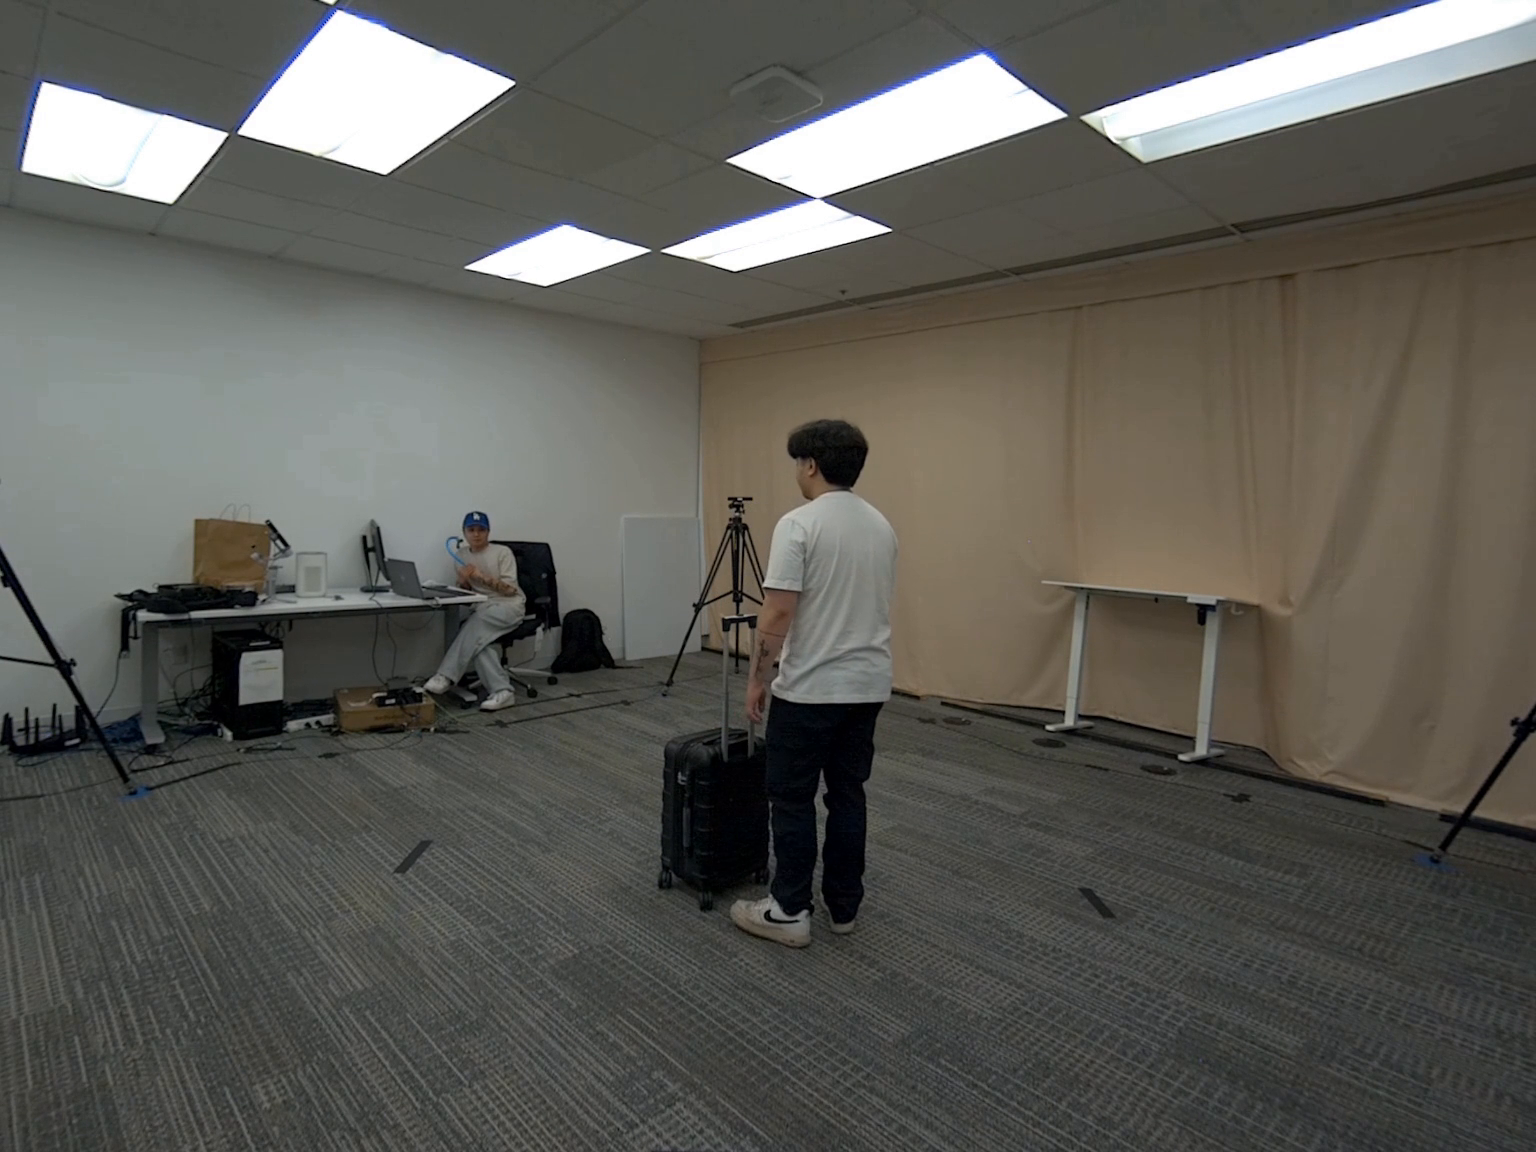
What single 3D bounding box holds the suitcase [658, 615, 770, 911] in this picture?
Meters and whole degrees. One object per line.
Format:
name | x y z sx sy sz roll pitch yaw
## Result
suitcase | -0.196 0.635 3.040 0.375 0.978 0.263 -1 0 -44
